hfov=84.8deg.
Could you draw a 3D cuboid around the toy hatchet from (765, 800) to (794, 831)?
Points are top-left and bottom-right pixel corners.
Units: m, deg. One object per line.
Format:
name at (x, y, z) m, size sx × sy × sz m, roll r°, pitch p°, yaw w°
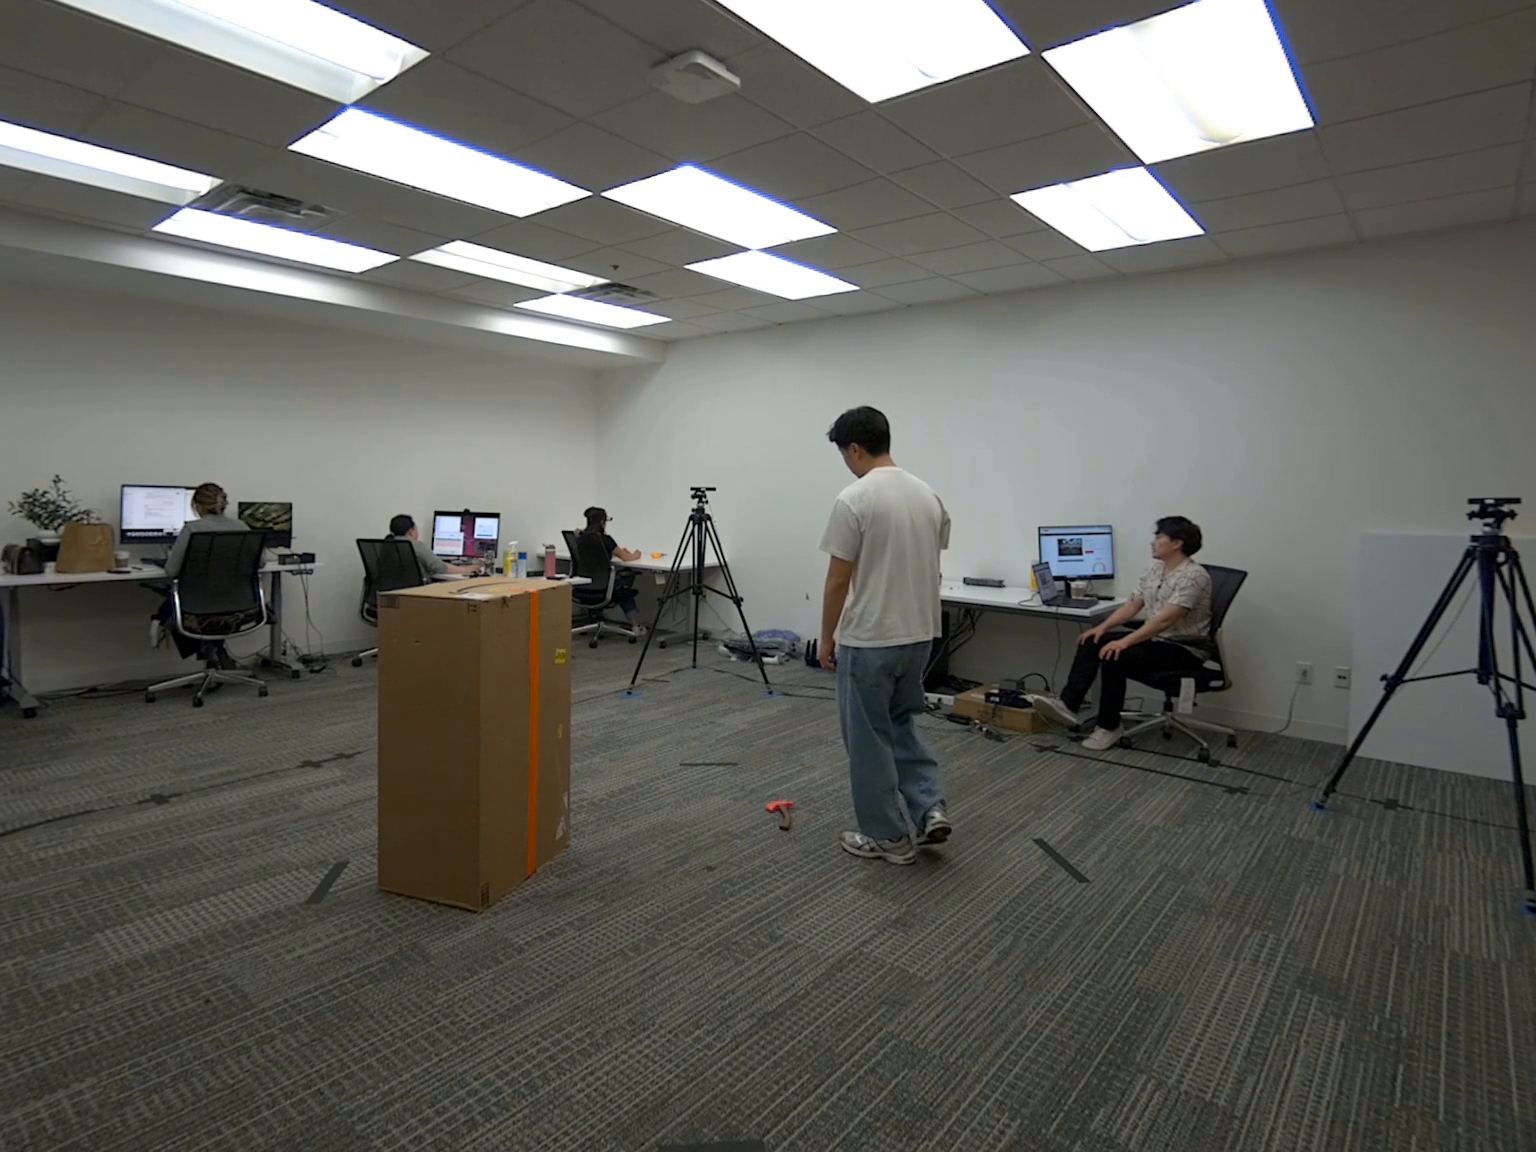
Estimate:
toy hatchet at (0.030, 1.013, 3.610) m, size 0.132 × 0.029 × 0.269 m, roll 1°, pitch 7°, yaw 8°
